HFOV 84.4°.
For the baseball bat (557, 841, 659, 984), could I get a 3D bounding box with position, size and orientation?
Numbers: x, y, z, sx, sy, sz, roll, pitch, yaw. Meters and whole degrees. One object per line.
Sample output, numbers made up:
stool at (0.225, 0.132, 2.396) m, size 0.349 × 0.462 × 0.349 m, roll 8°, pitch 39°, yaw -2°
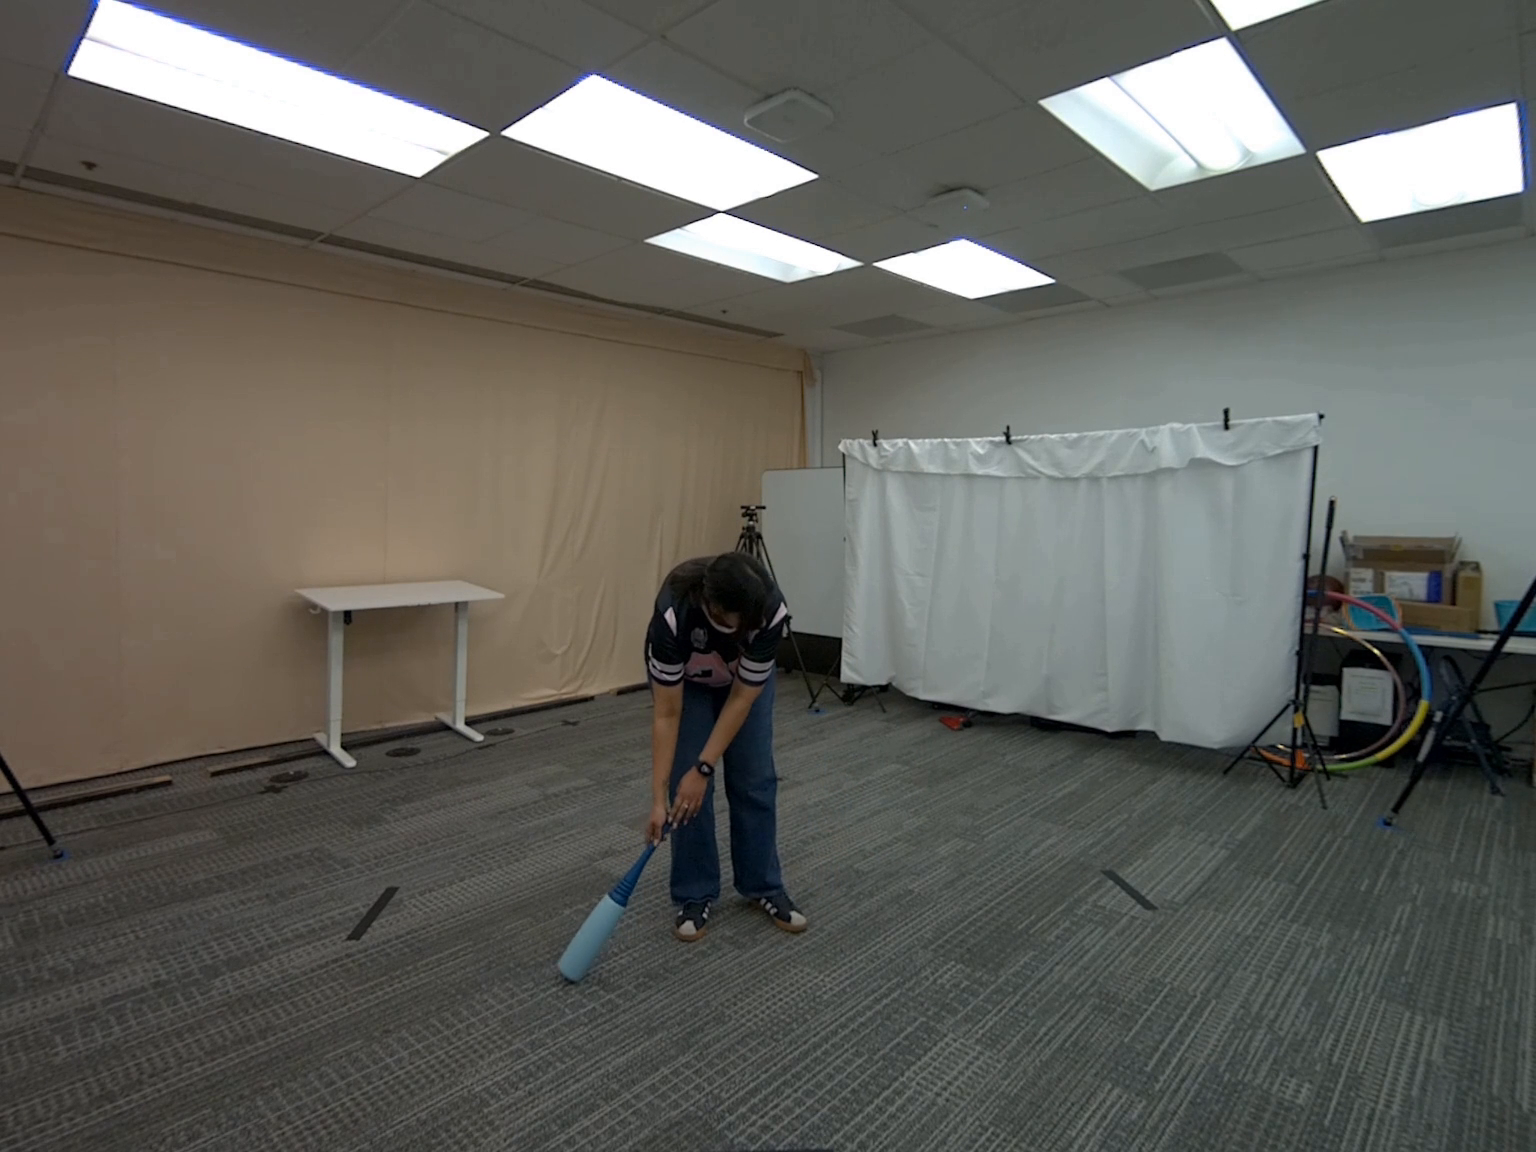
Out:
baseball bat at (-0.434, 0.958, 2.508) m, size 0.089 × 0.542 × 0.088 m, roll 34°, pitch -8°, yaw 3°
